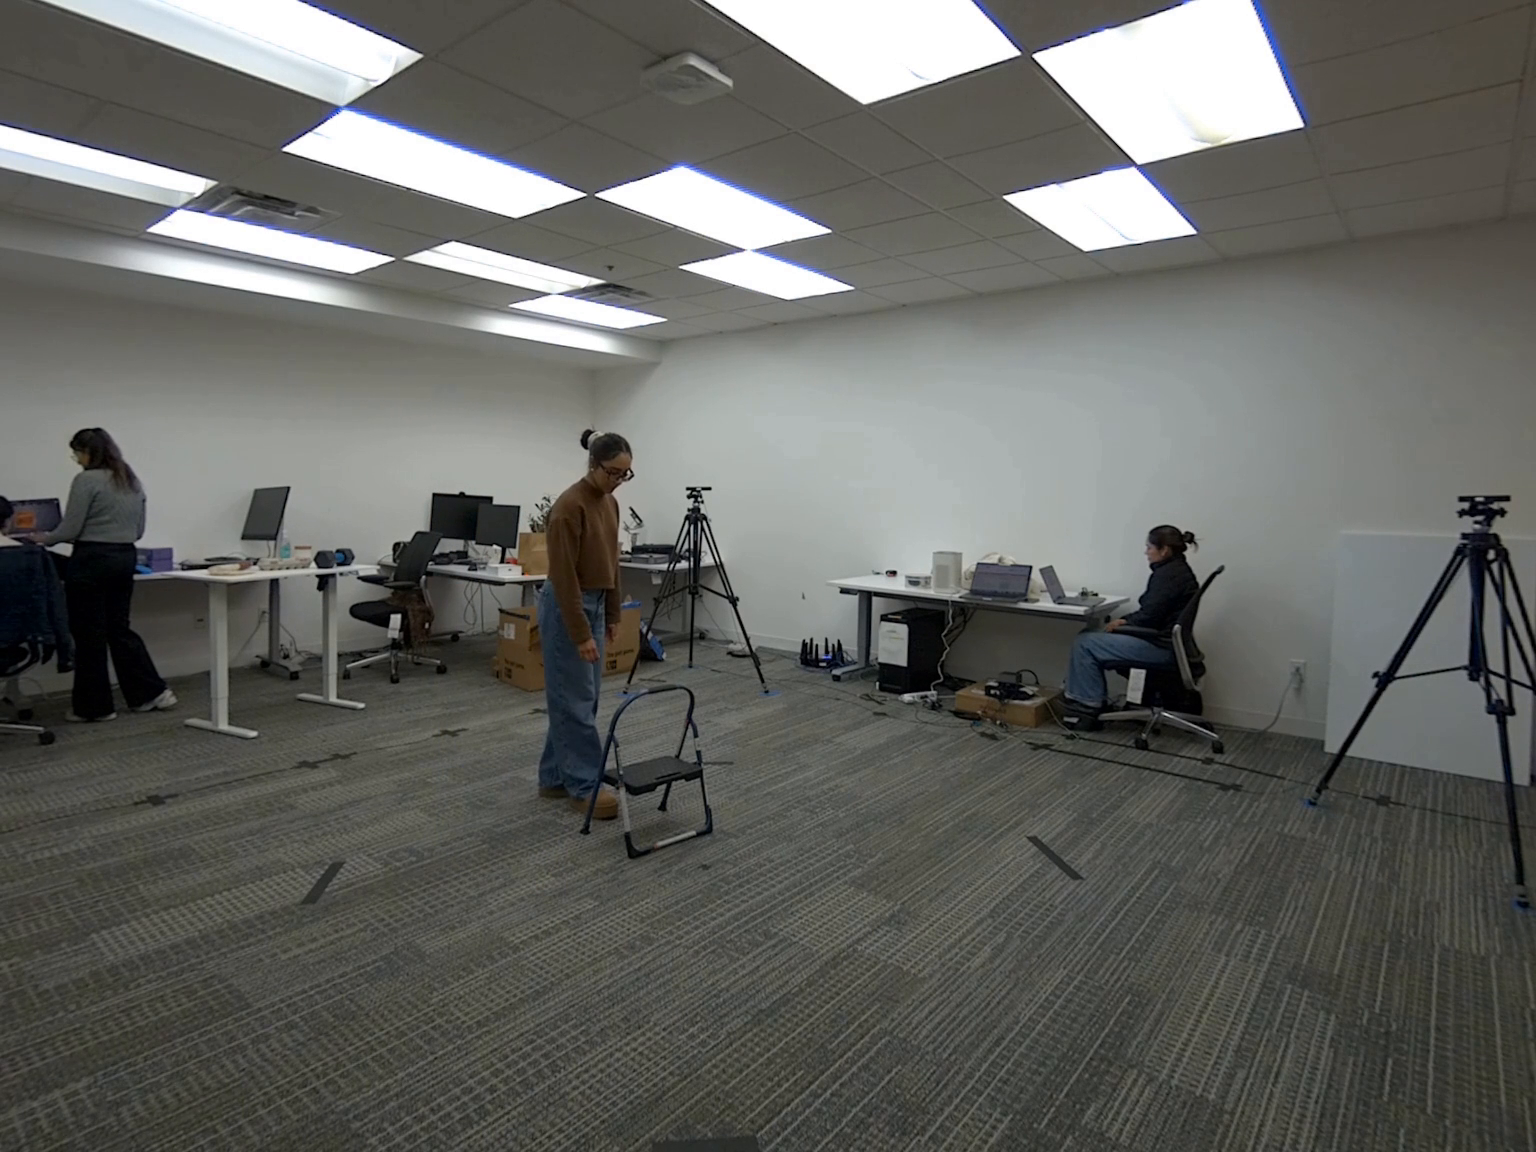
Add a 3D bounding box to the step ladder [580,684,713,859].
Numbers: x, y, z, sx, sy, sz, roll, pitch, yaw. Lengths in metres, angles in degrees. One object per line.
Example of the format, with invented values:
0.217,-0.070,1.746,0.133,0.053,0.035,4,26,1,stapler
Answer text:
-0.492,0.727,3.413,0.417,0.604,0.361,-2,5,-44,step ladder
